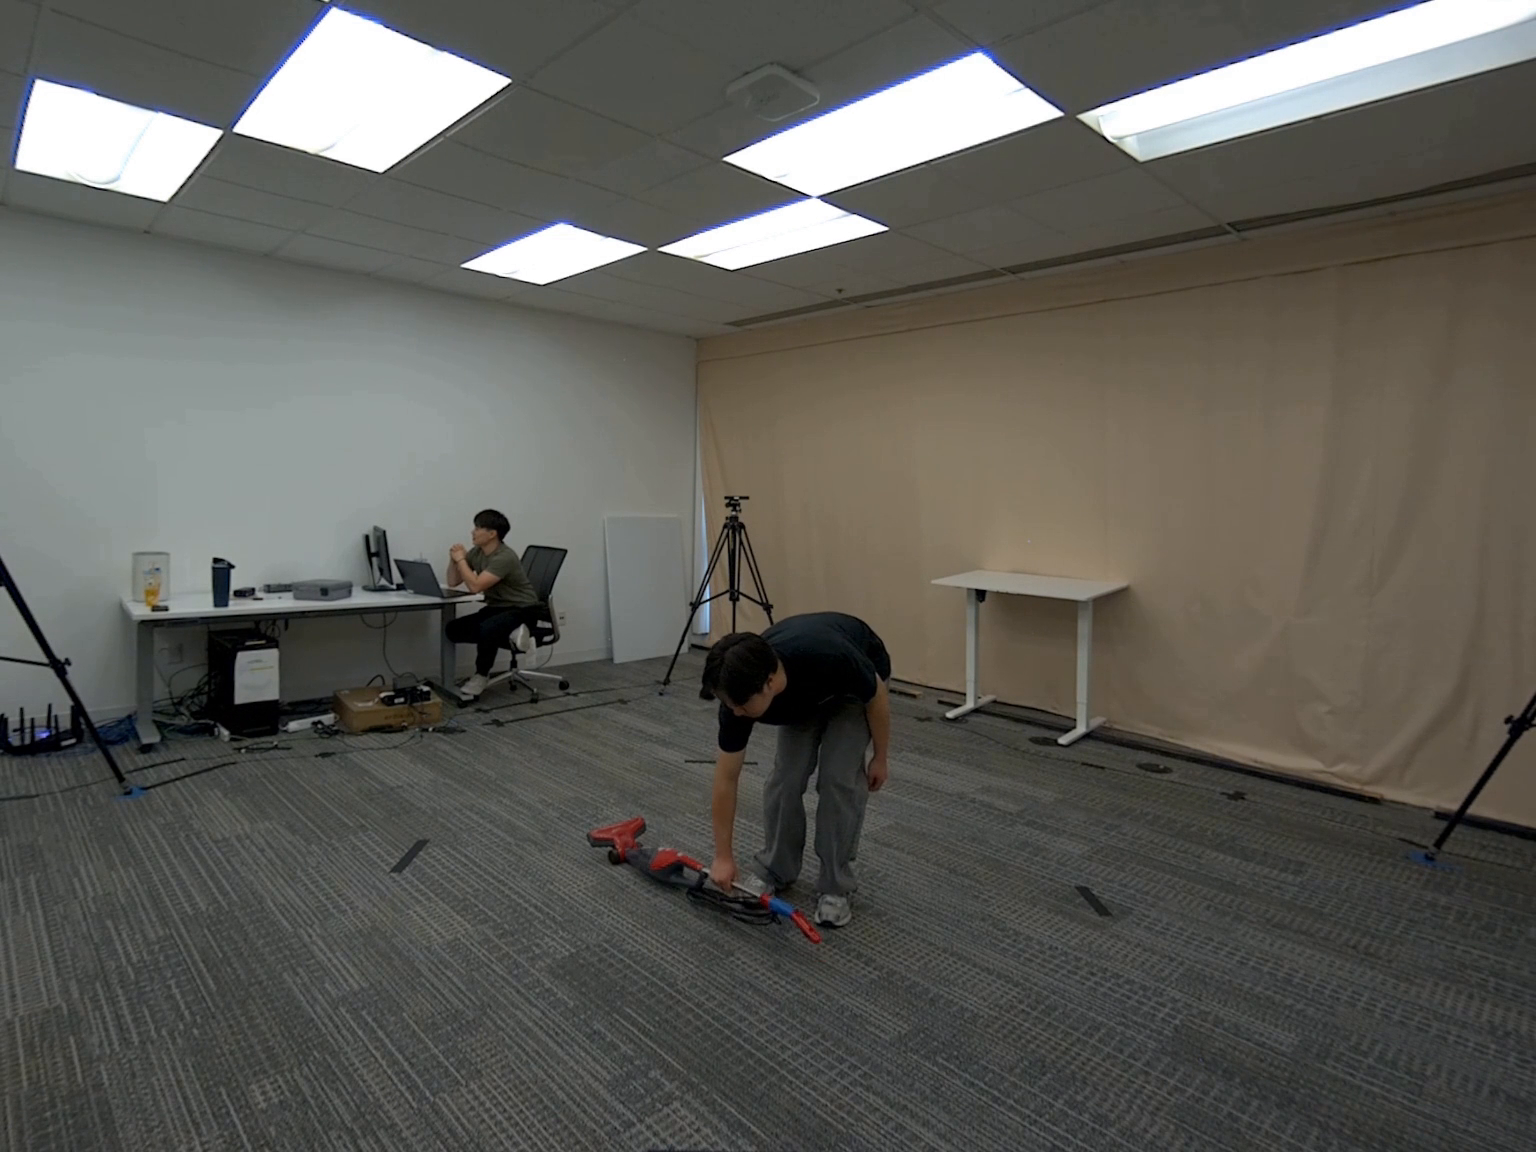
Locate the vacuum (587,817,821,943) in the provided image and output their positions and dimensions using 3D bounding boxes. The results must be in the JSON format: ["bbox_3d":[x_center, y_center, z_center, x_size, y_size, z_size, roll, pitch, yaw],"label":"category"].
[{"bbox_3d":[-0.229,1.039,2.845,0.247,0.144,1.074,-2,3,-40],"label":"vacuum"}]
